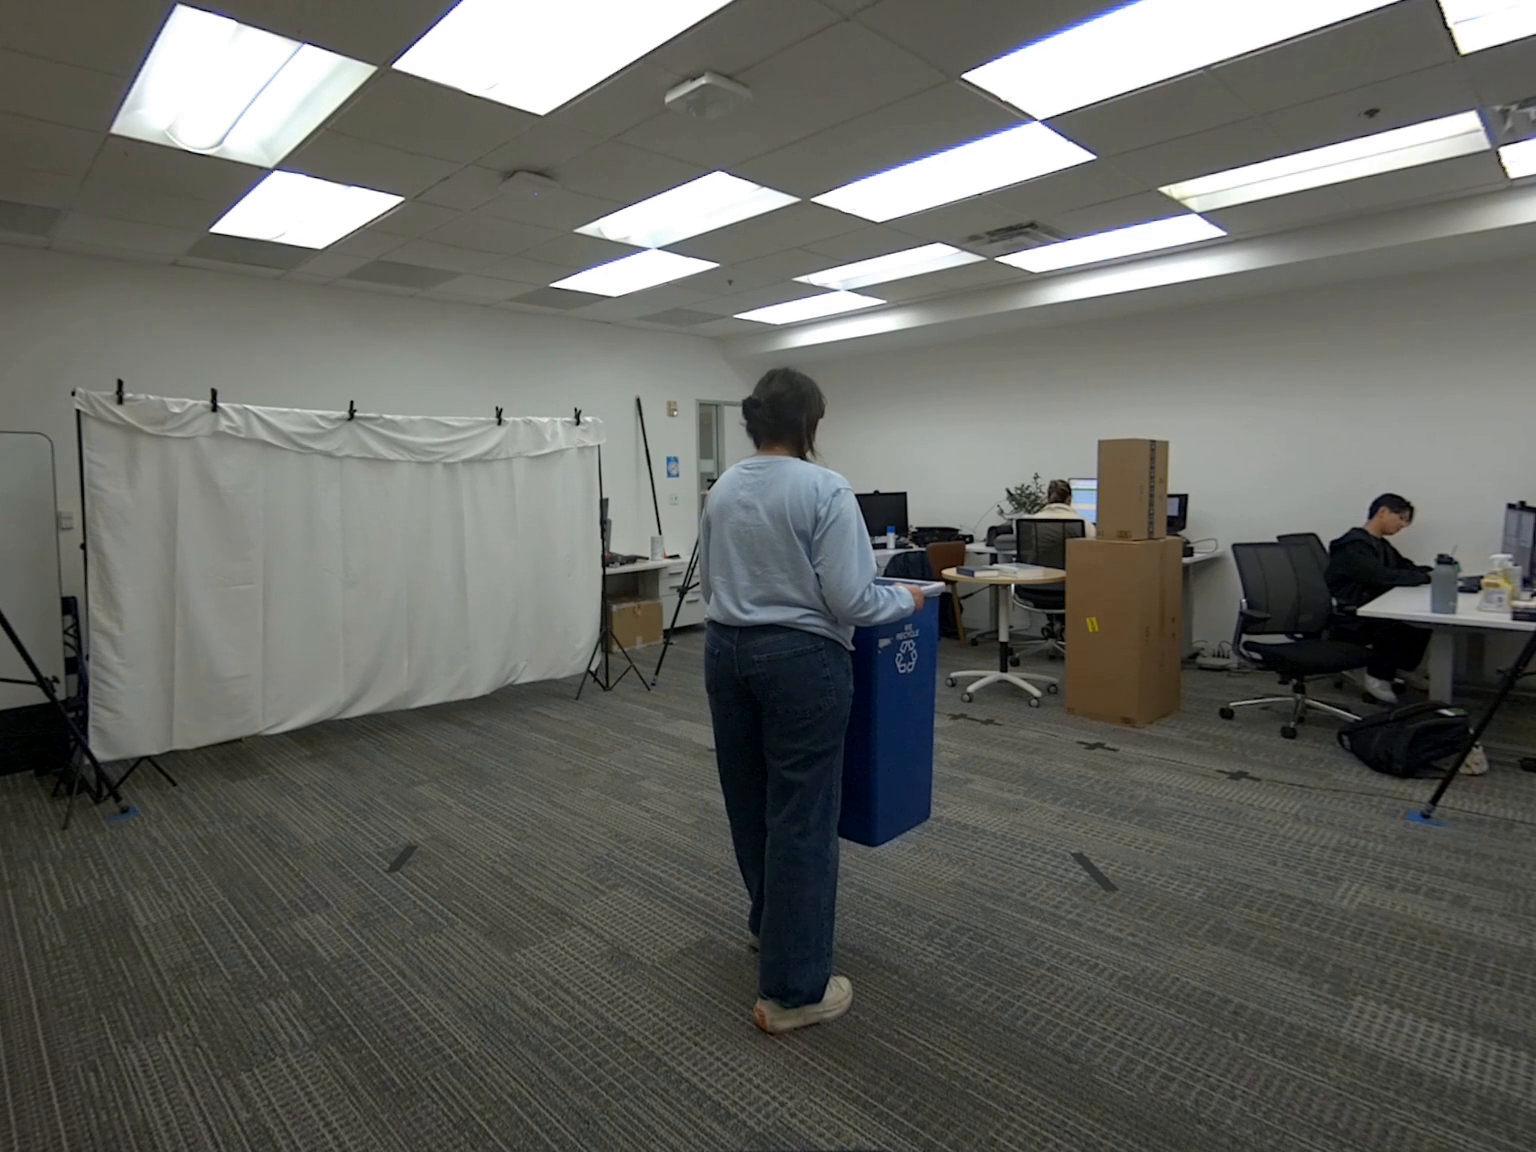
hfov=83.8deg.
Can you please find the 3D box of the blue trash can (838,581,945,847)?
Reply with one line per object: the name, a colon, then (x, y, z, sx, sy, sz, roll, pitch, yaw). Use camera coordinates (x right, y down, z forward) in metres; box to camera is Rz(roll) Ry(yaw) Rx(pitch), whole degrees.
blue trash can: (0.292, 0.380, 2.561, 0.389, 0.711, 0.364, 3, 6, 44)
